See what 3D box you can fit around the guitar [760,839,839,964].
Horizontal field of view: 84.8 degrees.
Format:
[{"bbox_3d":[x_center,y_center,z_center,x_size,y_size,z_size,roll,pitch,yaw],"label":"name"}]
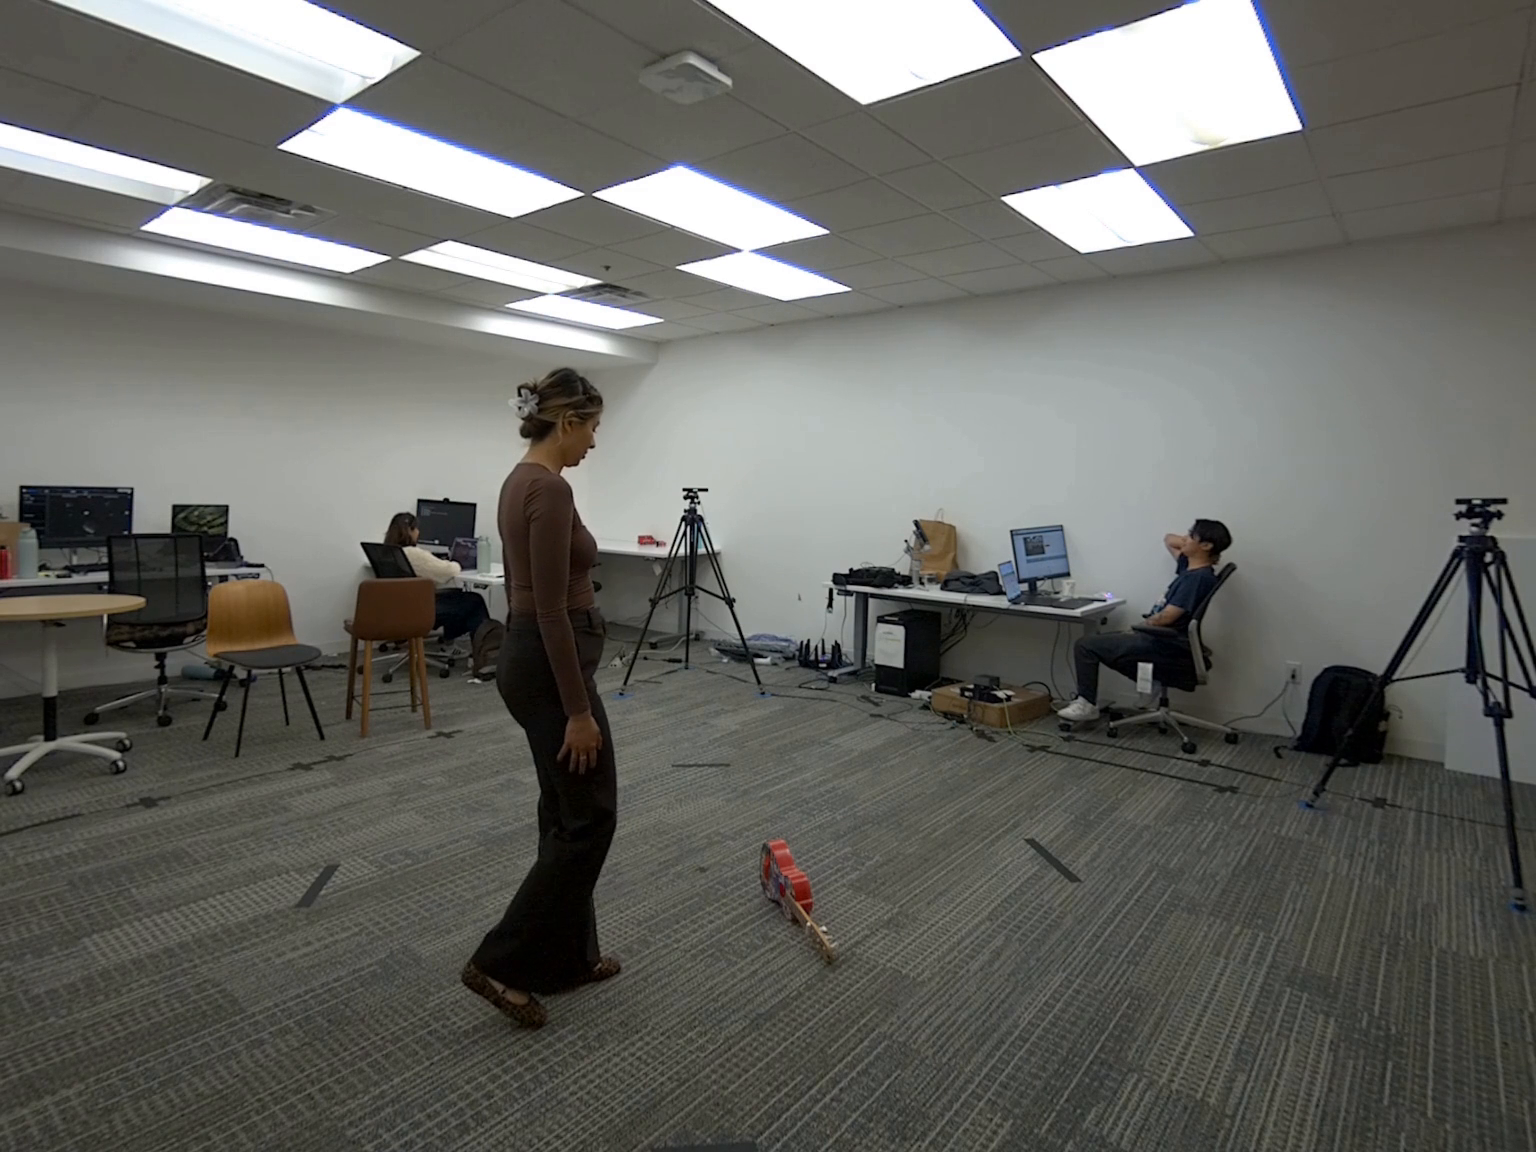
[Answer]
[{"bbox_3d":[0.090,1.070,2.737,0.069,0.190,0.517,-3,25,-24],"label":"guitar"}]
